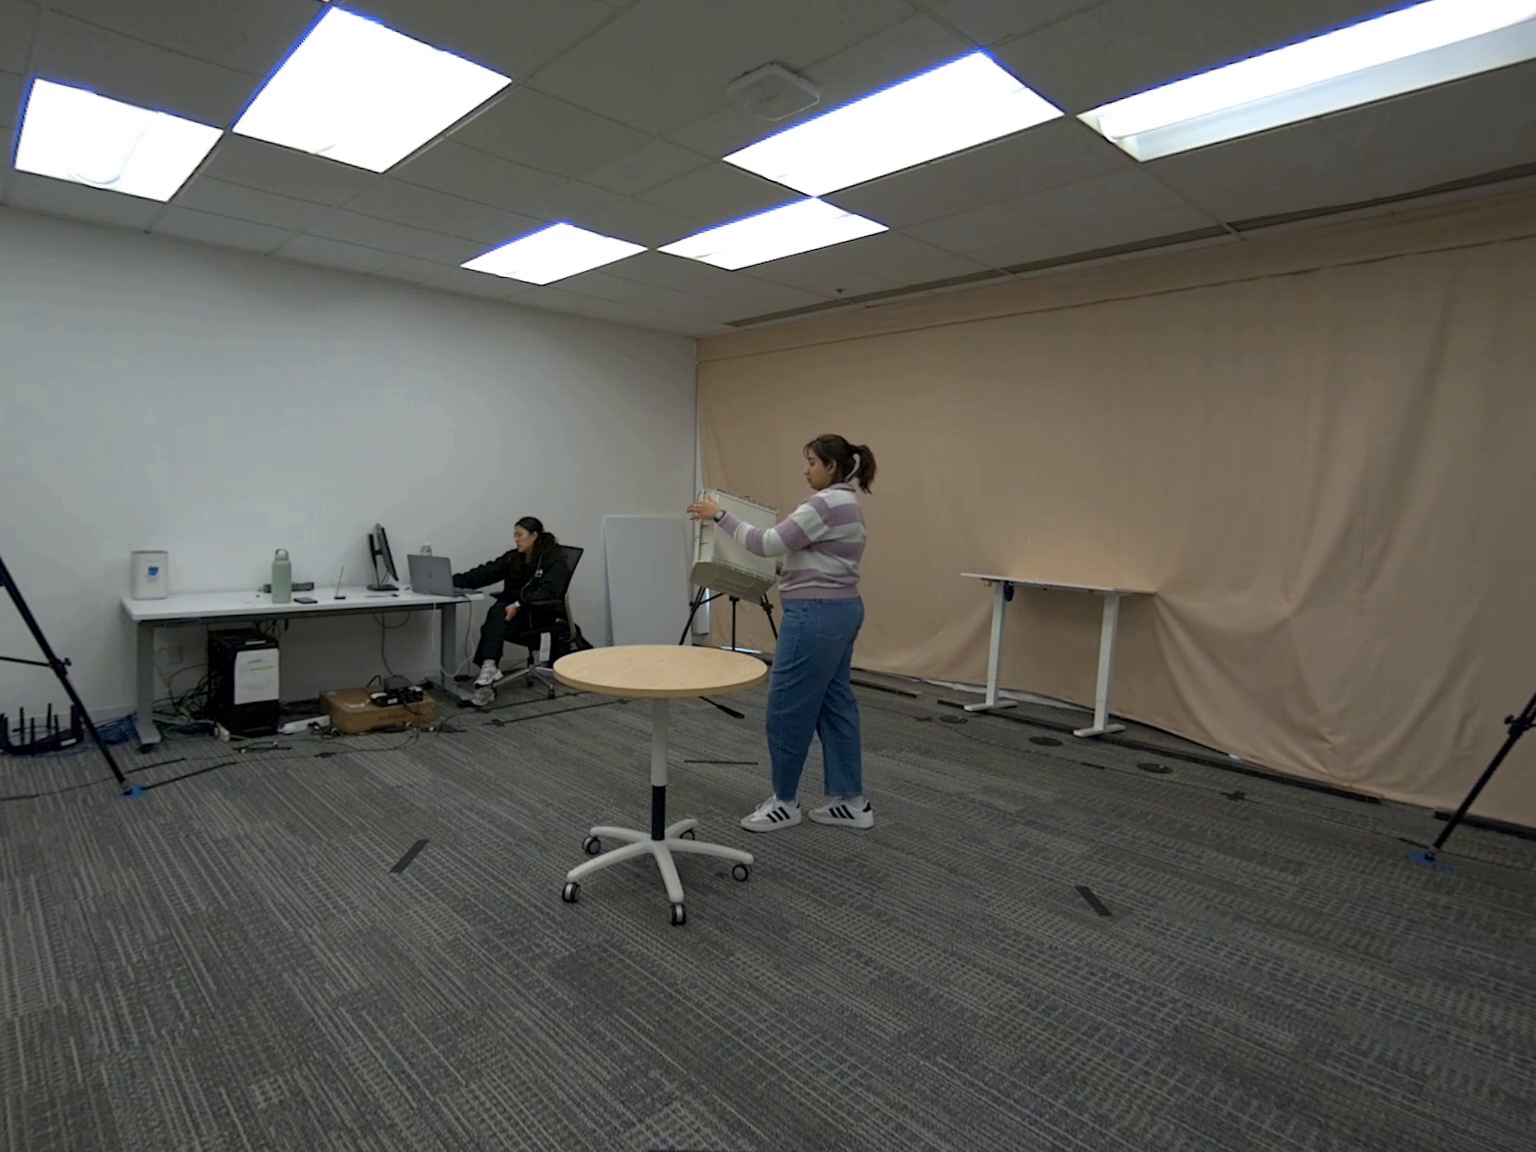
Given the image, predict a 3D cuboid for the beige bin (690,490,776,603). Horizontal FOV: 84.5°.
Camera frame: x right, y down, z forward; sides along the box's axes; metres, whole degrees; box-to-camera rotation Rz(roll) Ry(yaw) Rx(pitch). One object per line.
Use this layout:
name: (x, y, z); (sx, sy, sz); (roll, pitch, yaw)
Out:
beige bin: (-0.164, -0.141, 3.709); (0.370, 0.431, 0.188); (18, -41, -21)
